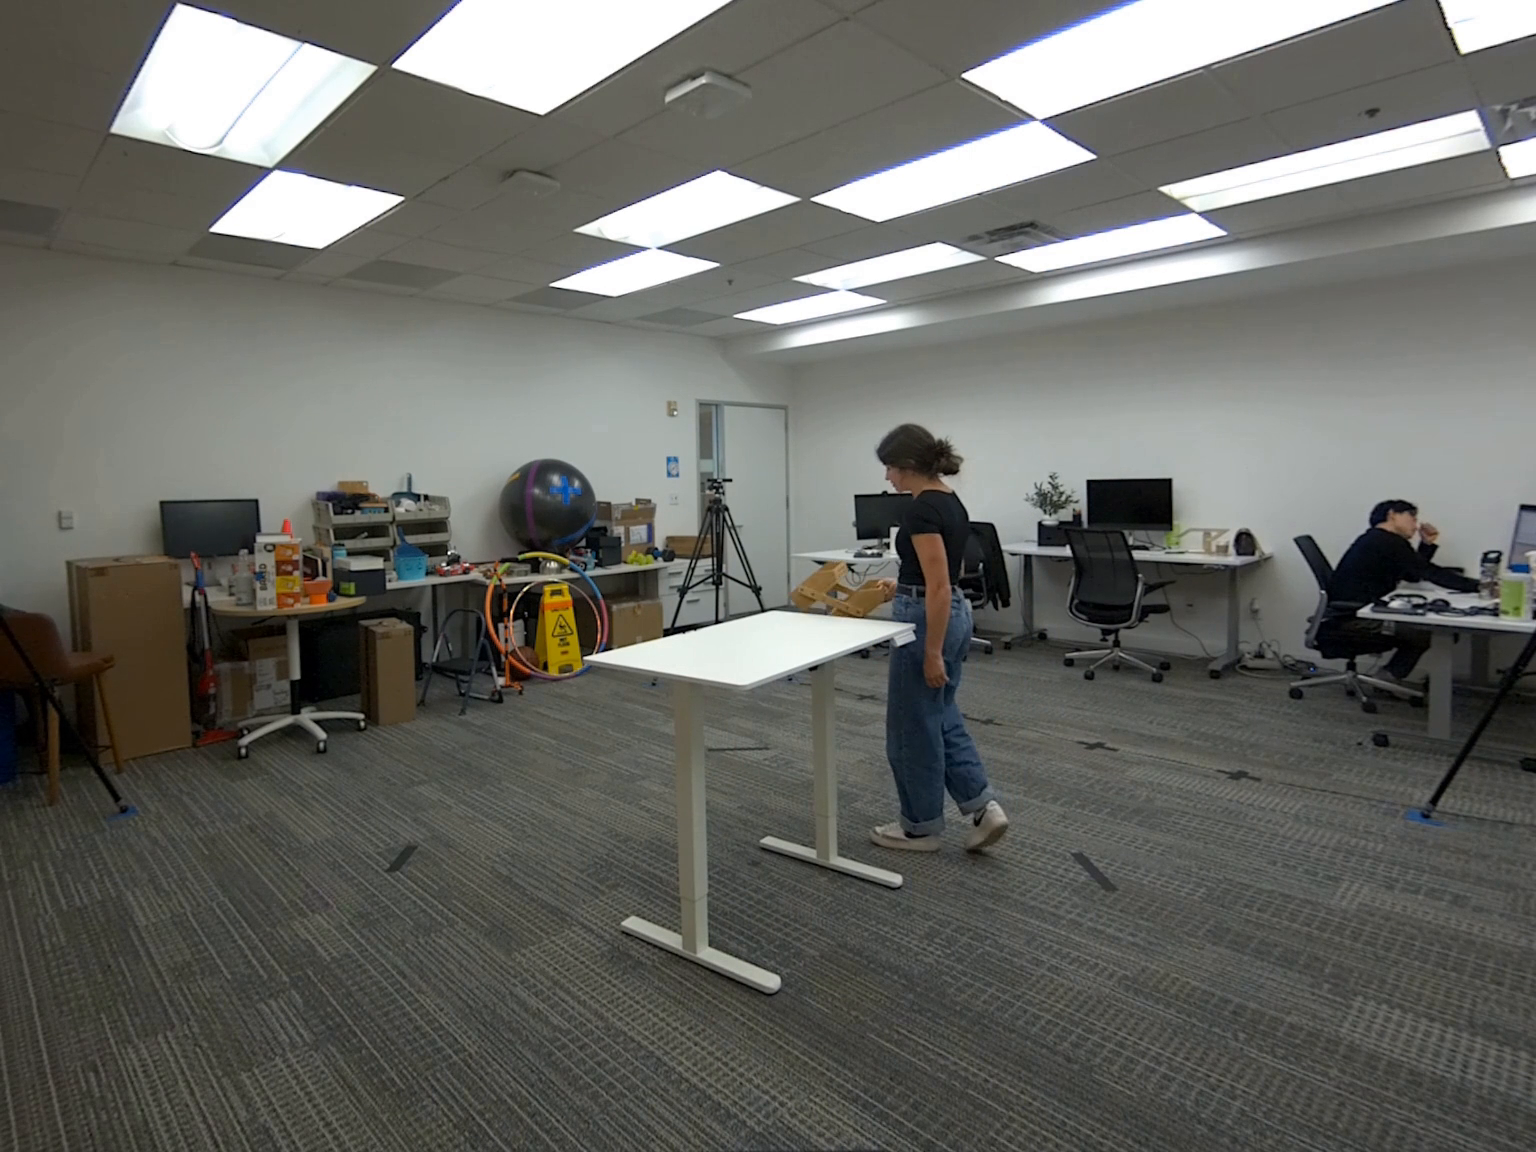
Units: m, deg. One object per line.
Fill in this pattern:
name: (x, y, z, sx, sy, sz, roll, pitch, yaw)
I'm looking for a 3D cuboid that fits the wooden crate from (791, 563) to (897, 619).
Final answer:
wooden crate: (0.305, 0.058, 3.524, 0.302, 0.275, 0.322, -42, -4, 15)
